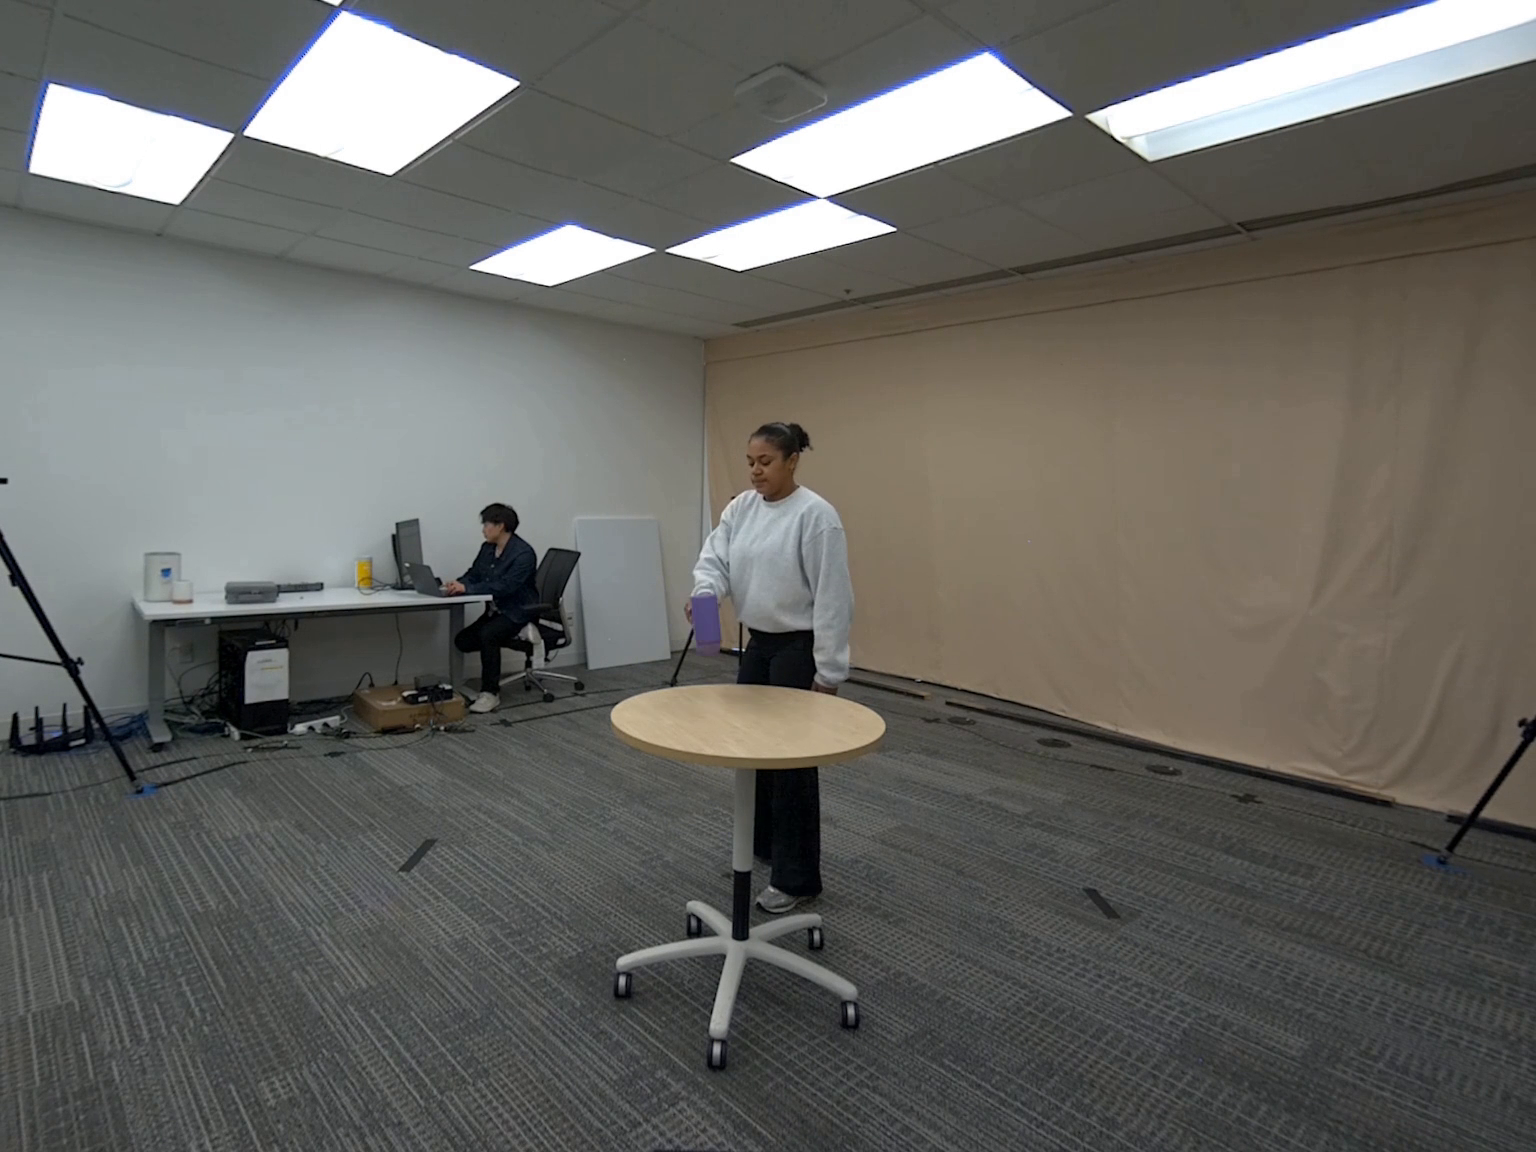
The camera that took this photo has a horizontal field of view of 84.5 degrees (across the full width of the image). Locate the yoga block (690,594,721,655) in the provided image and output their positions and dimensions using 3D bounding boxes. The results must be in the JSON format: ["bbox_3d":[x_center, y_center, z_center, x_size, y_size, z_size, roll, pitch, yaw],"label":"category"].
[{"bbox_3d":[-0.210,0.160,2.572,0.076,0.150,0.227,-1,-11,-3],"label":"yoga block"}]
